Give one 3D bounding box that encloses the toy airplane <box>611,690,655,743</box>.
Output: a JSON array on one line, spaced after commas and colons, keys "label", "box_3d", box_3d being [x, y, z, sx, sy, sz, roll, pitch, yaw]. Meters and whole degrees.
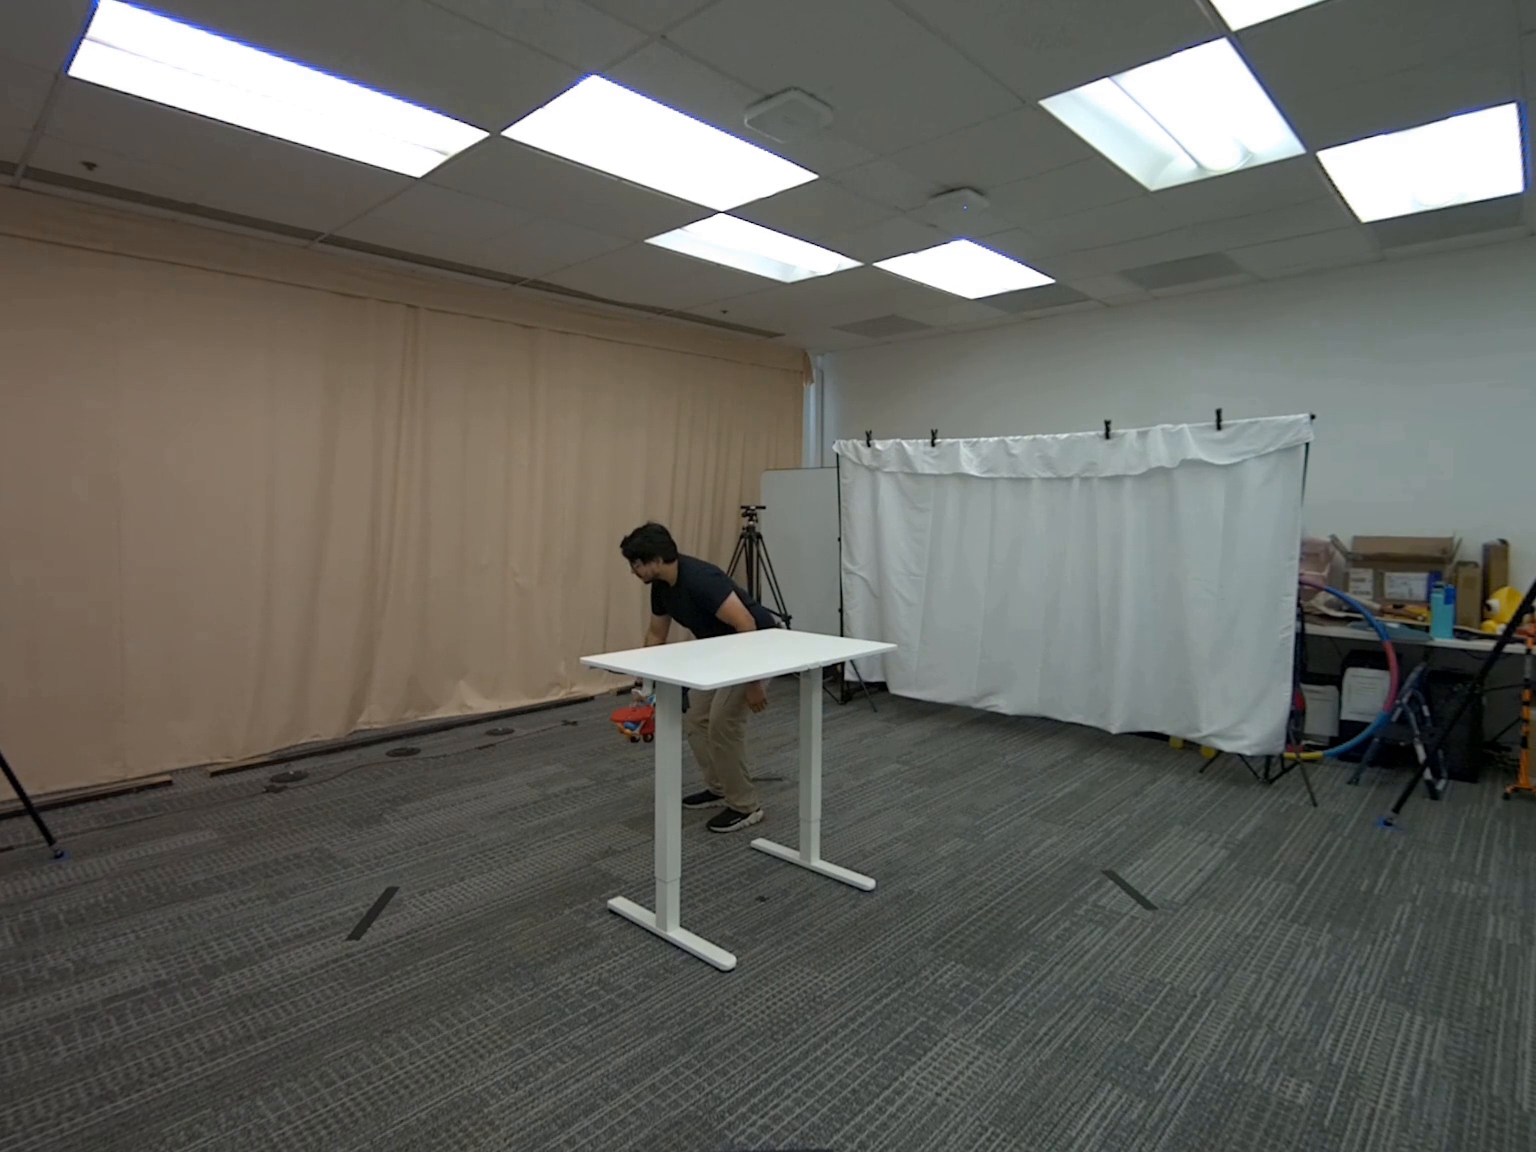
[{"label": "toy airplane", "box_3d": [-0.614, 0.663, 3.980, 0.253, 0.151, 0.266, -30, 38, 10]}]
